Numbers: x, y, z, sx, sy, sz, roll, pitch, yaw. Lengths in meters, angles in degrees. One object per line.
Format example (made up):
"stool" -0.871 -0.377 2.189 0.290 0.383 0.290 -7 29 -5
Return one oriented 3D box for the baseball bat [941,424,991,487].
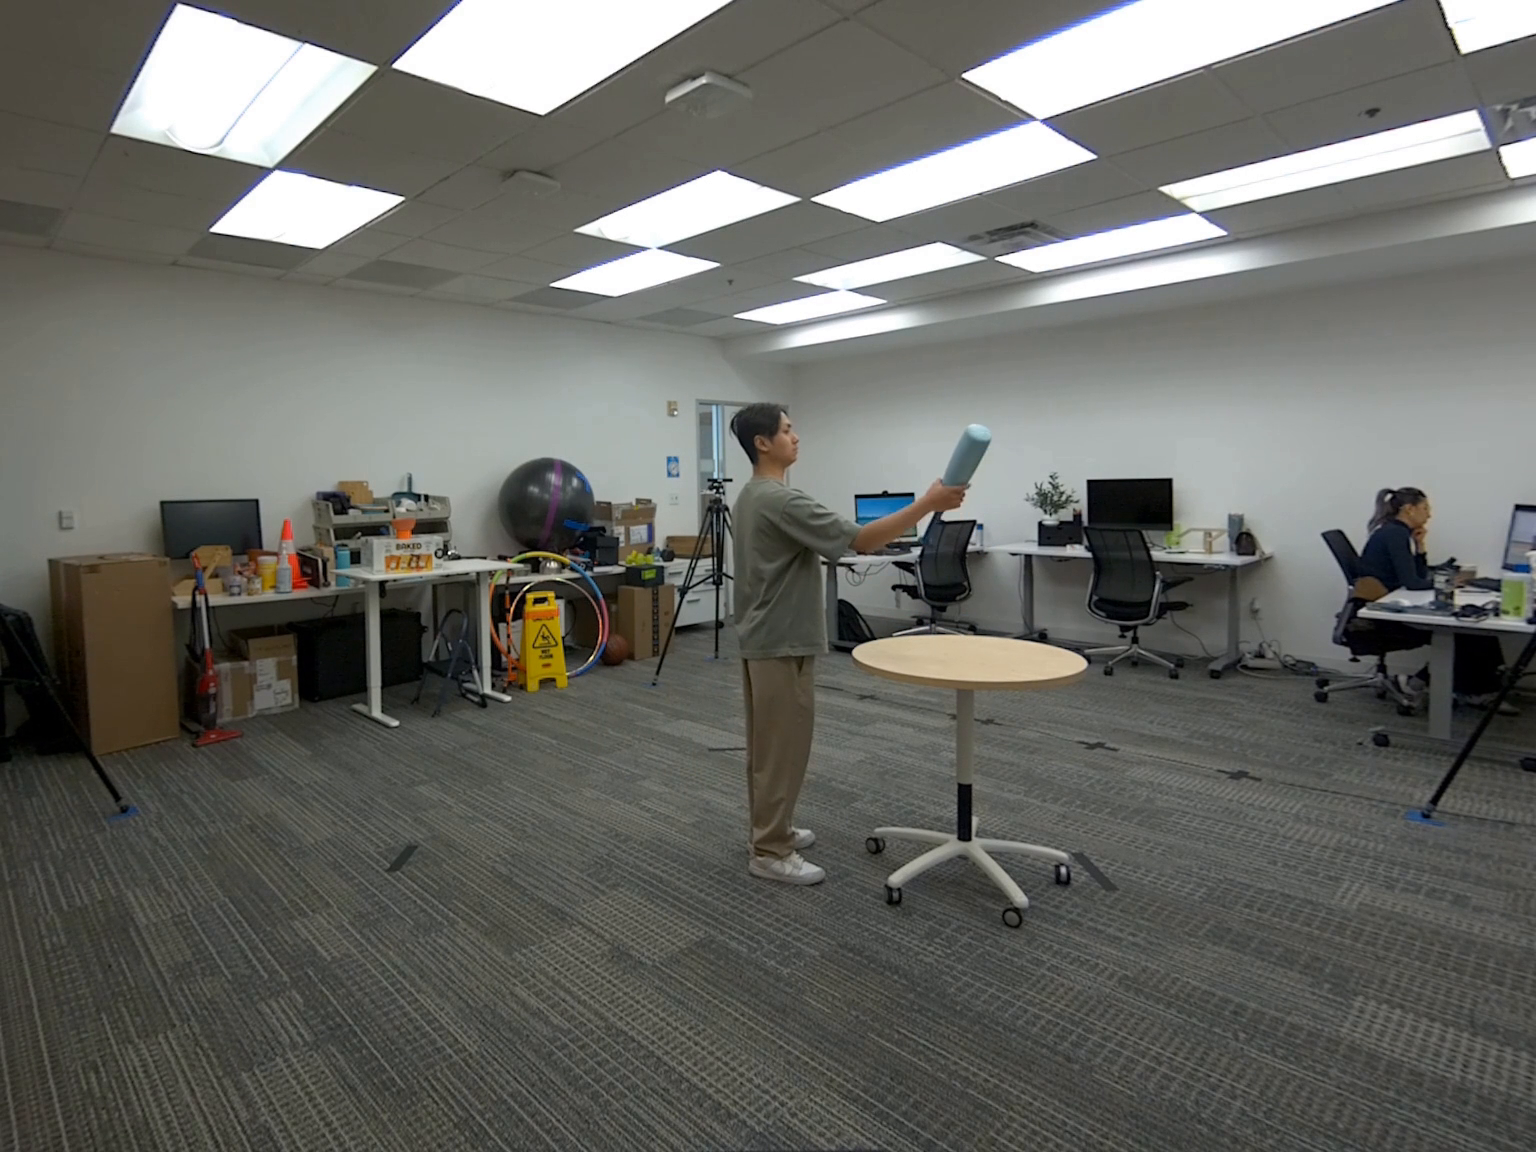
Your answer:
"baseball bat" 0.613 -0.278 2.840 0.088 0.091 0.533 7 -41 -9
